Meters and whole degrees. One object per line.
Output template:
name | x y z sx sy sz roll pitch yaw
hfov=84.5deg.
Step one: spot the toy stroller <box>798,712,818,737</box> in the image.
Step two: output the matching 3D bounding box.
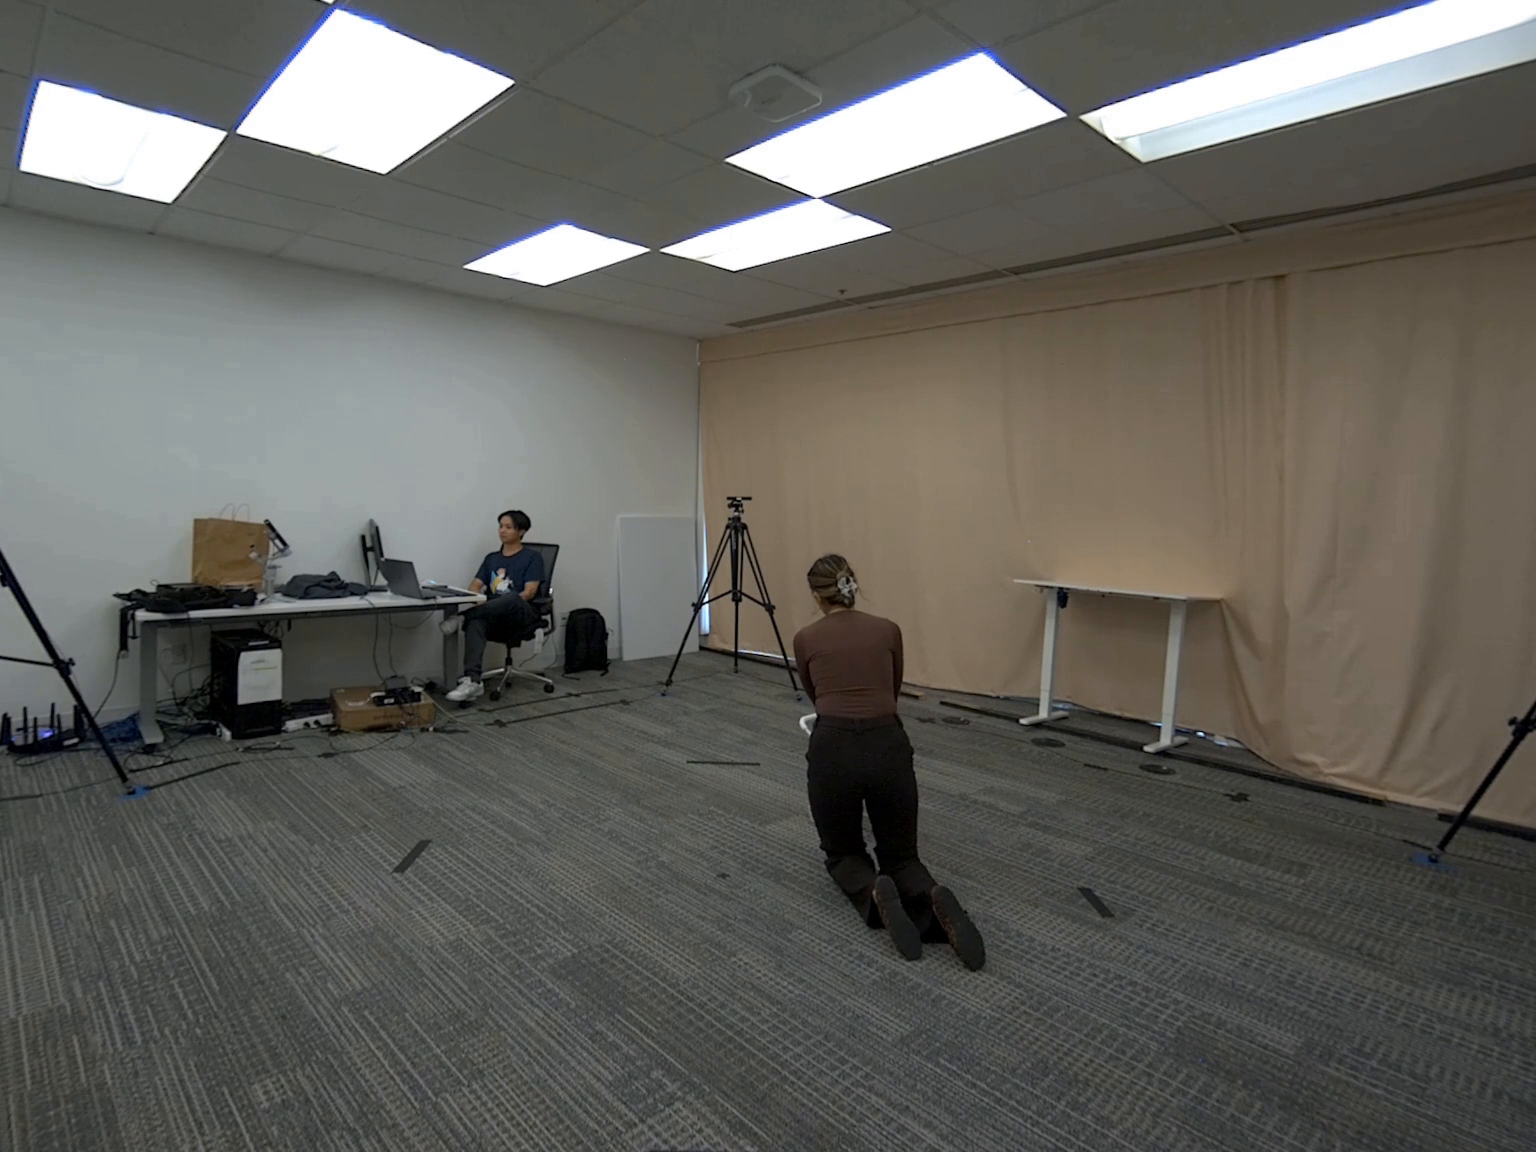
toy stroller | 0.351 0.853 3.639 0.275 0.539 0.346 -3 -10 -40
